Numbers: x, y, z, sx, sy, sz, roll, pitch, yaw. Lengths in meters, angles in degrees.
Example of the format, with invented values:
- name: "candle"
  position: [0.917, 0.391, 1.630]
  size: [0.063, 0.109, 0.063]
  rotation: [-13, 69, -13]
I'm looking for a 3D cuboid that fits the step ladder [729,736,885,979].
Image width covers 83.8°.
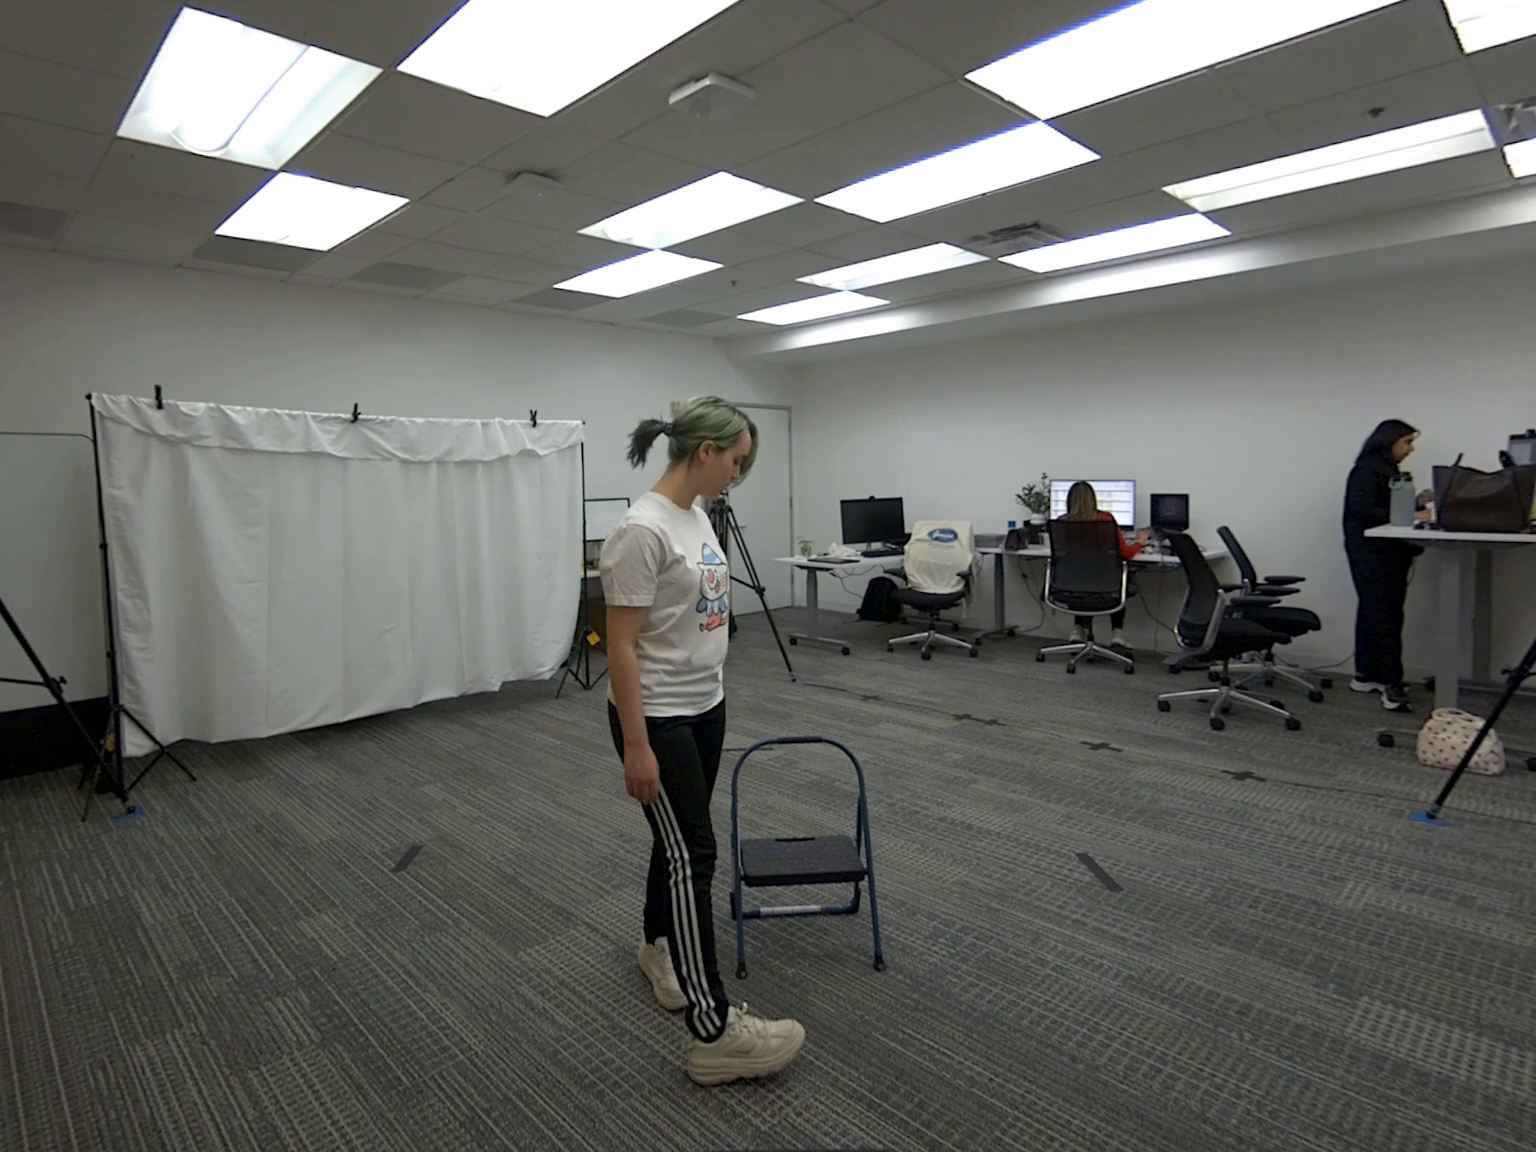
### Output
- name: "step ladder"
  position: [0.103, 0.806, 2.566]
  size: [0.429, 0.604, 0.352]
  rotation: [-2, 4, -5]
